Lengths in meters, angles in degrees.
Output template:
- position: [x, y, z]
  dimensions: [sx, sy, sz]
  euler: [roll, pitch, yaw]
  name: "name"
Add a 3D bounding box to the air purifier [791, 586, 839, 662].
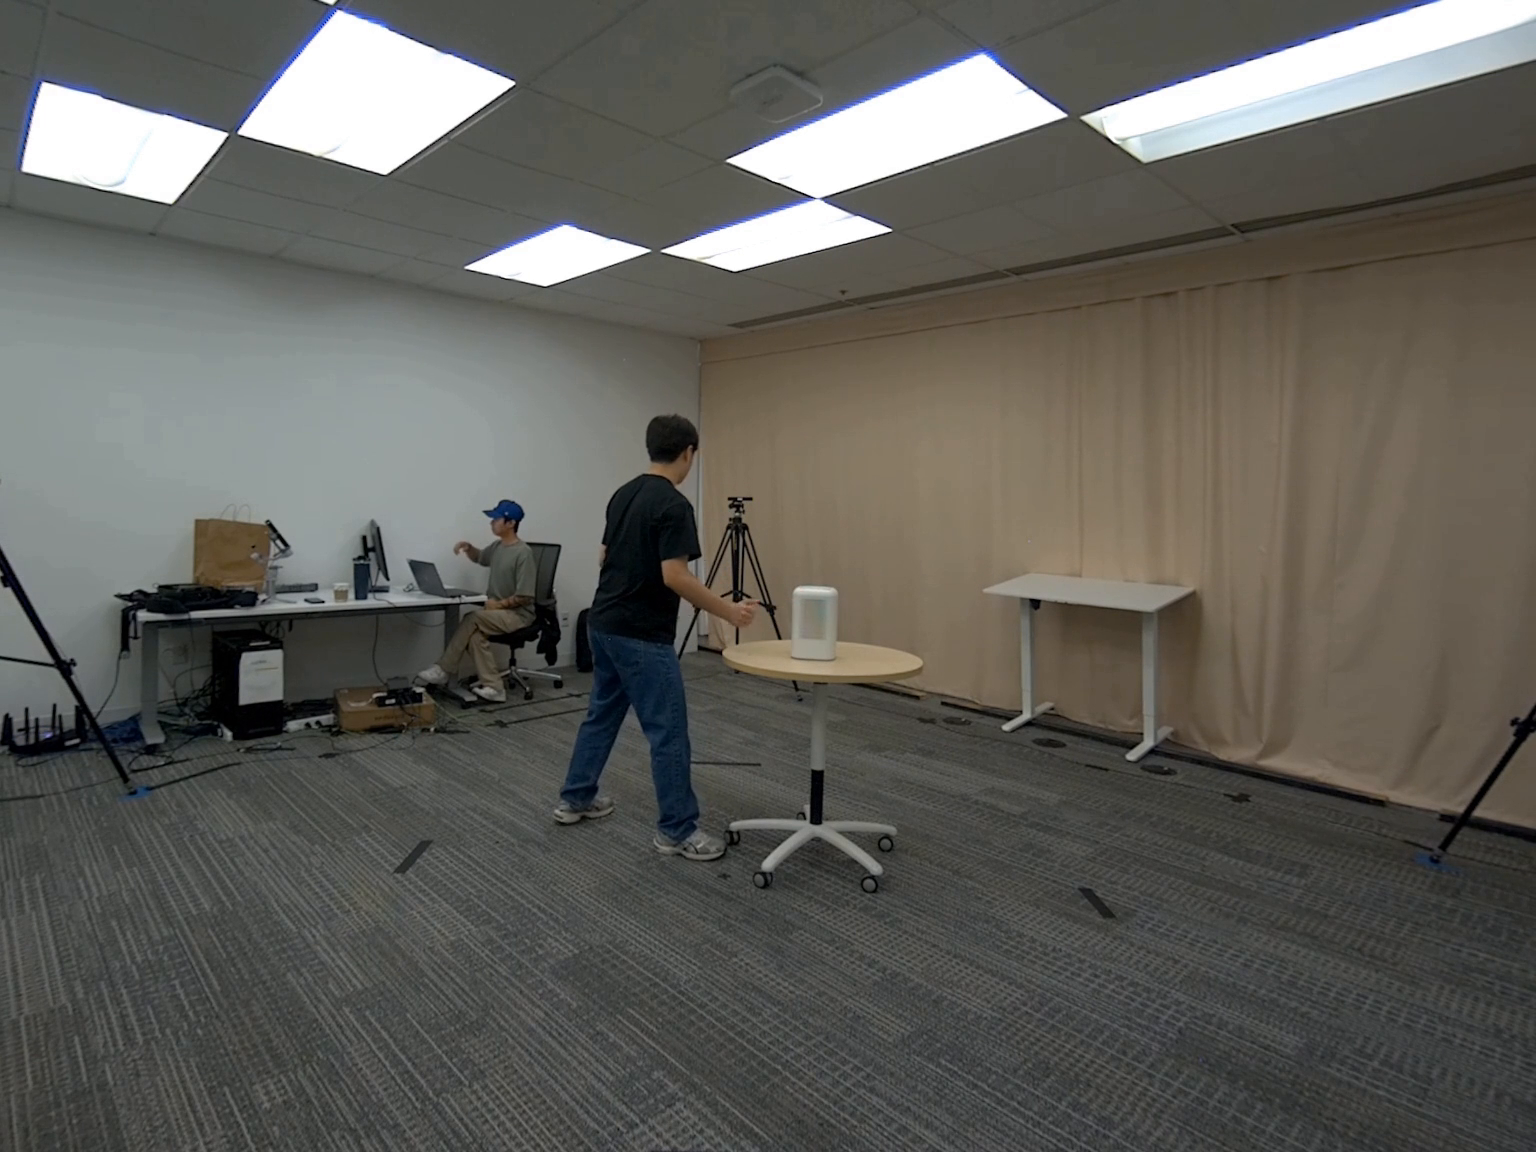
- position: [0.167, 0.177, 3.215]
  dimensions: [0.173, 0.265, 0.170]
  euler: [1, 3, 10]
  name: "air purifier"
